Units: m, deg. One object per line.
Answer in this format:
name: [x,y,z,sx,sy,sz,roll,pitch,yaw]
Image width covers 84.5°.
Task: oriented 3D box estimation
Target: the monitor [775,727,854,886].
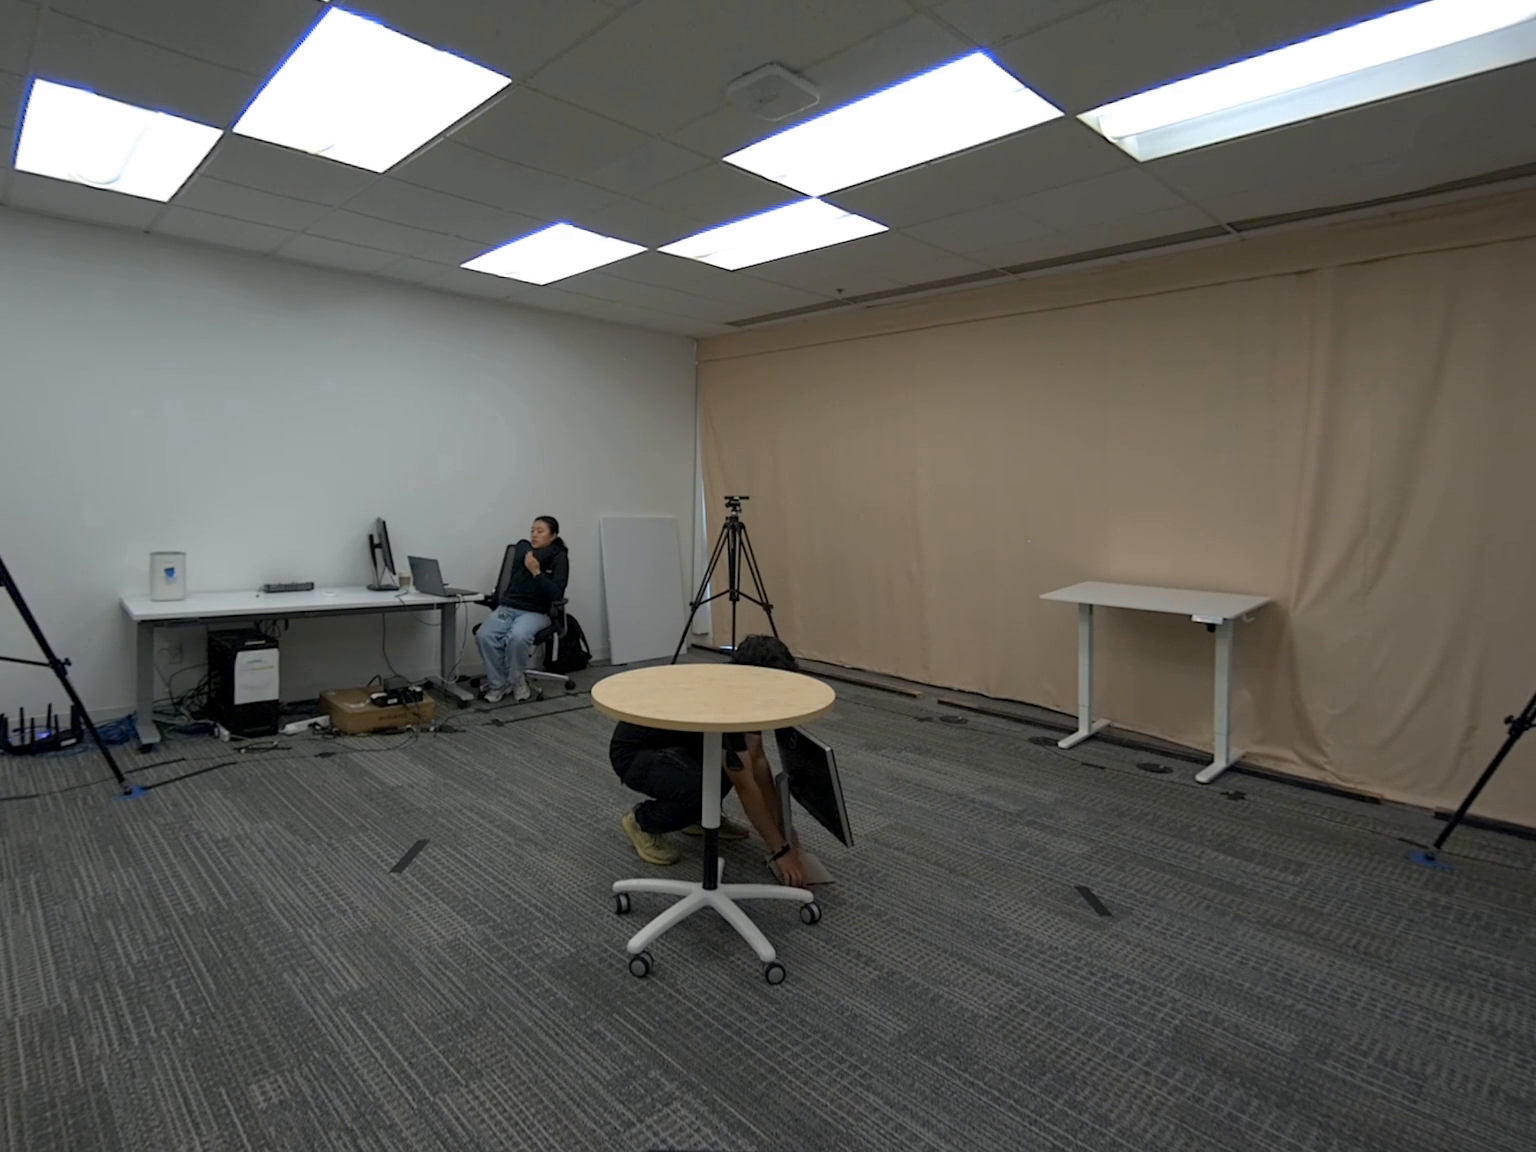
monitor: [0.088,0.833,3.137,0.207,0.552,0.575,-6,6,-19]
